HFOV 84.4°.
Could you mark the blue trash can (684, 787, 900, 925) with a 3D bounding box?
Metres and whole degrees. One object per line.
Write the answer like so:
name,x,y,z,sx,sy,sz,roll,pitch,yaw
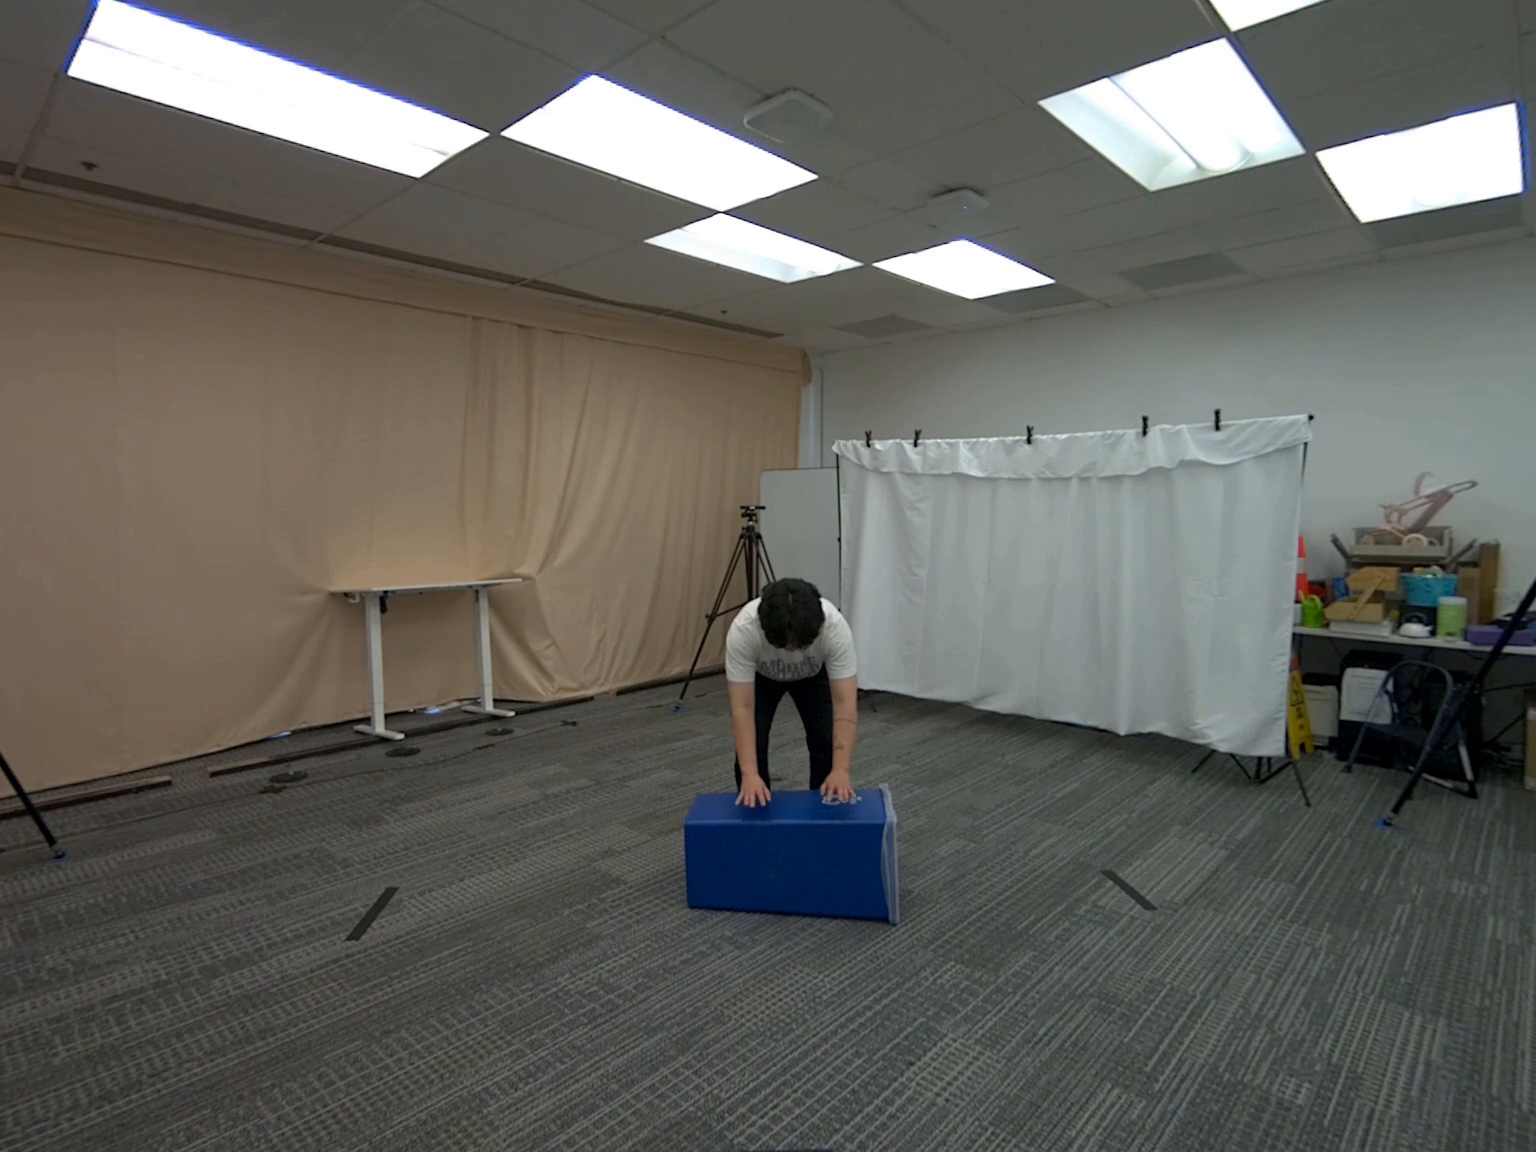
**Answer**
blue trash can,0.089,0.972,2.992,0.719,0.377,0.372,-3,4,6
